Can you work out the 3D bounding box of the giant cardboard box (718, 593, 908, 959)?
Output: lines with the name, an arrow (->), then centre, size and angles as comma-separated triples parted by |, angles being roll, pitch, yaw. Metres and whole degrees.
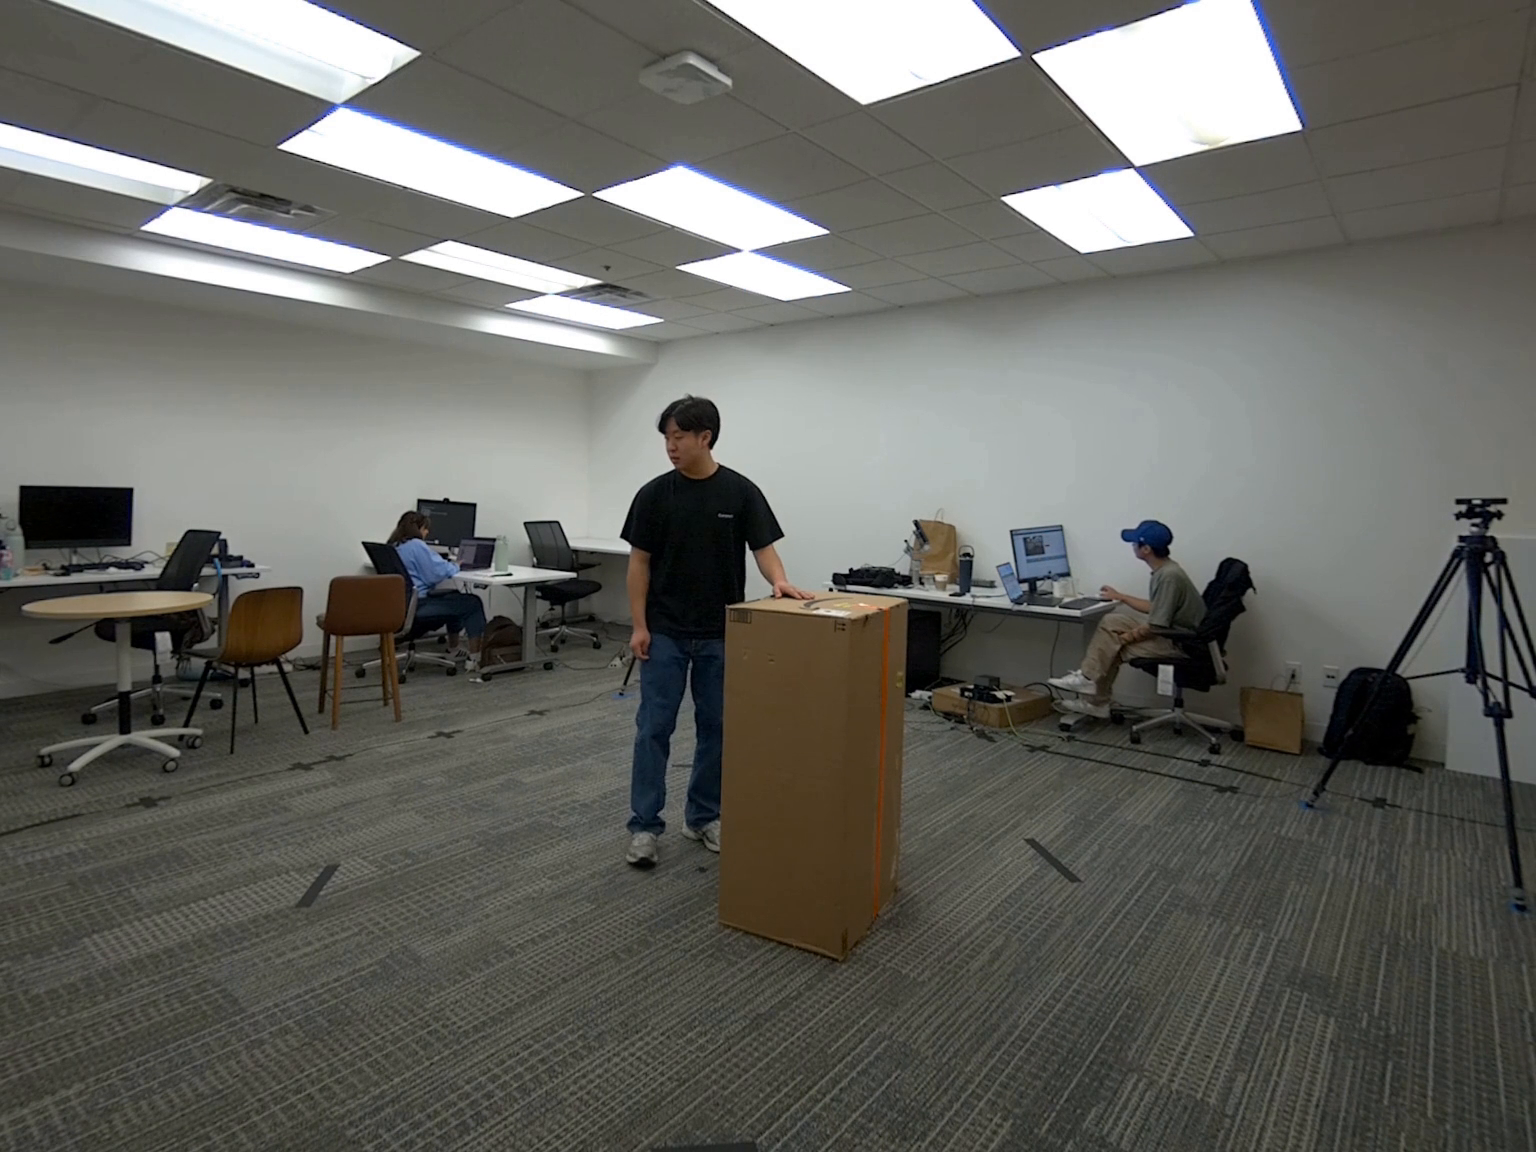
giant cardboard box -> 0.159, 0.590, 2.837 | 0.460, 1.024, 0.569 | 3, 4, 28
